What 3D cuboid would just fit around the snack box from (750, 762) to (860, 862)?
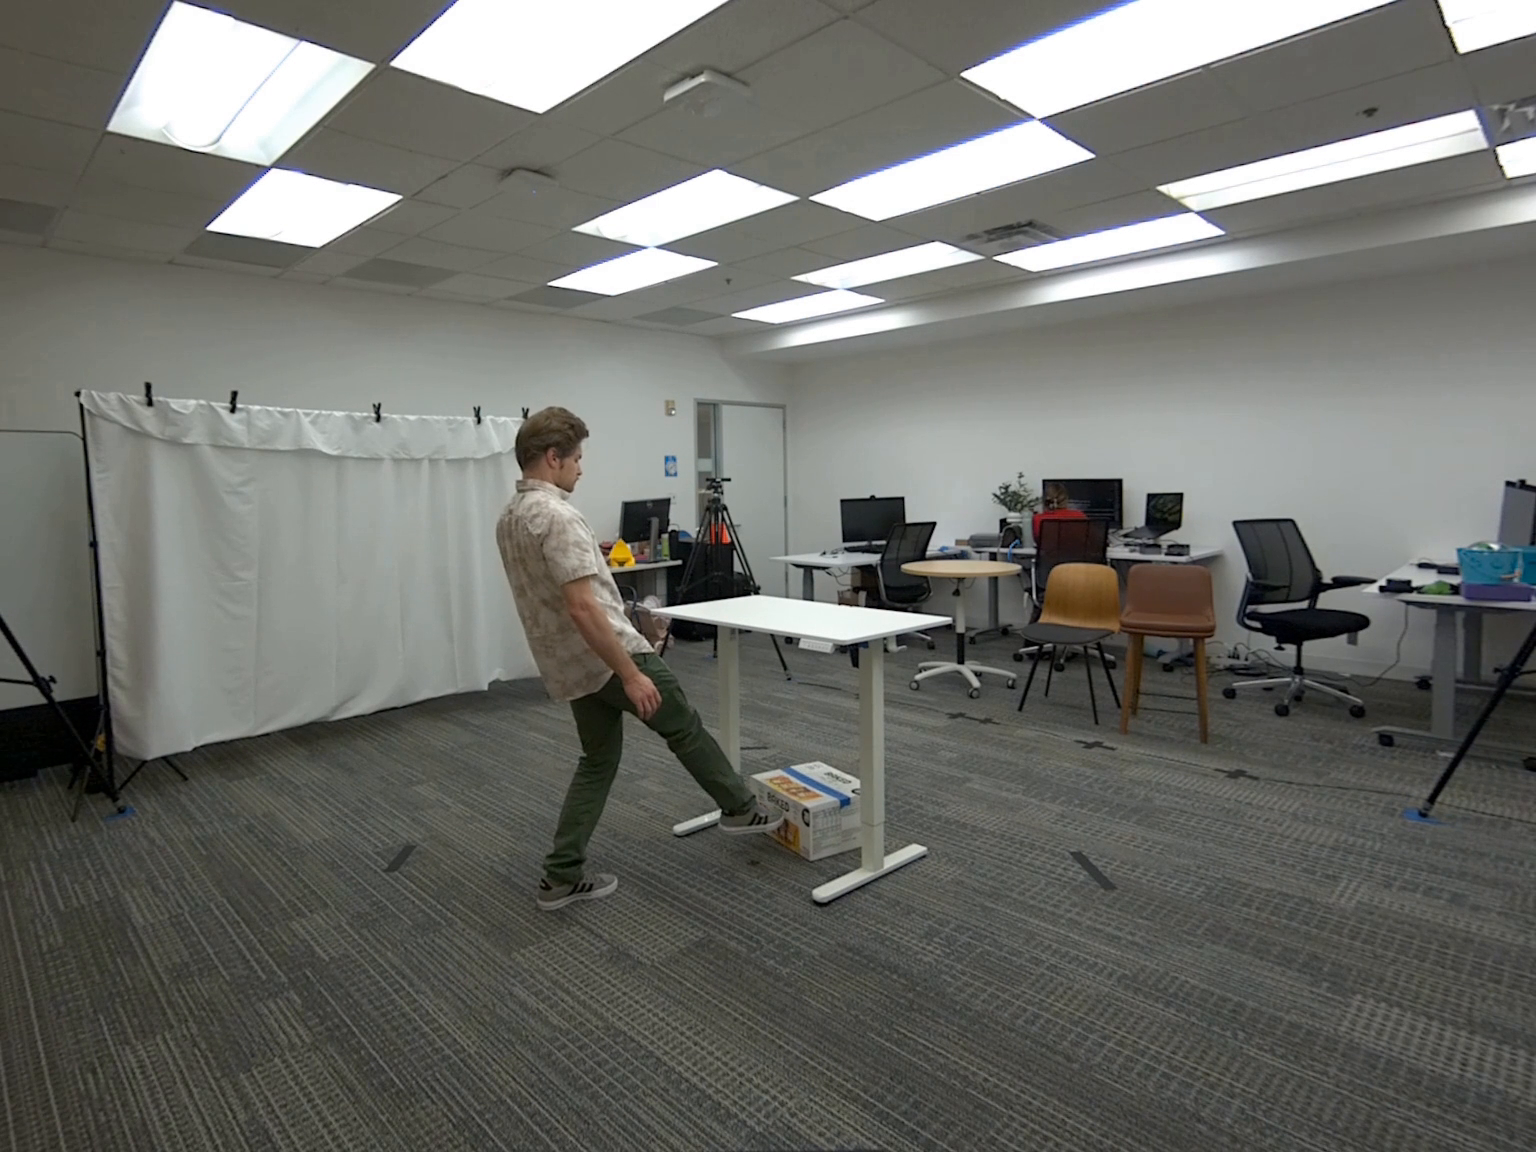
[{"bbox_3d":[0.179,0.912,3.343,0.332,0.205,0.417,-5,7,-32],"label":"snack box"}]
